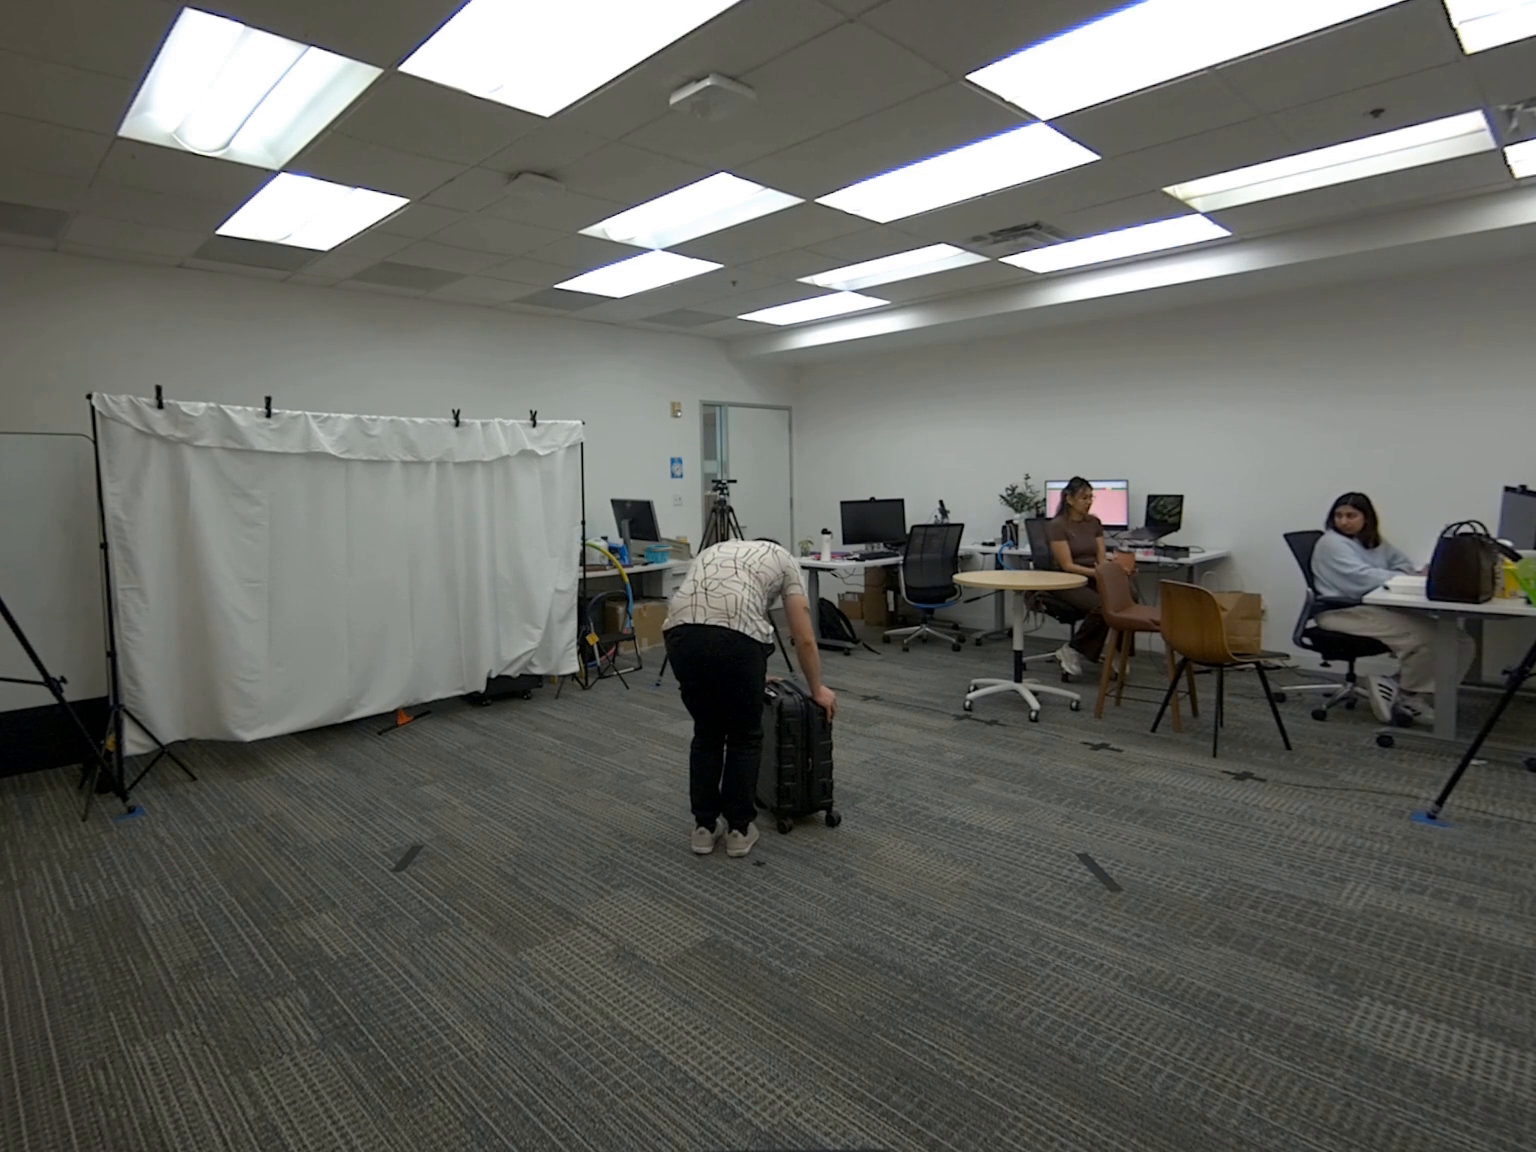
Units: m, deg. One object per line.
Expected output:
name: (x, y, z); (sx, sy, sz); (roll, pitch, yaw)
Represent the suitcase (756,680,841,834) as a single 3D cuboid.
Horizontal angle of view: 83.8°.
suitcase: (0.104, 0.719, 3.559); (0.244, 0.548, 0.382); (-2, 4, -18)
